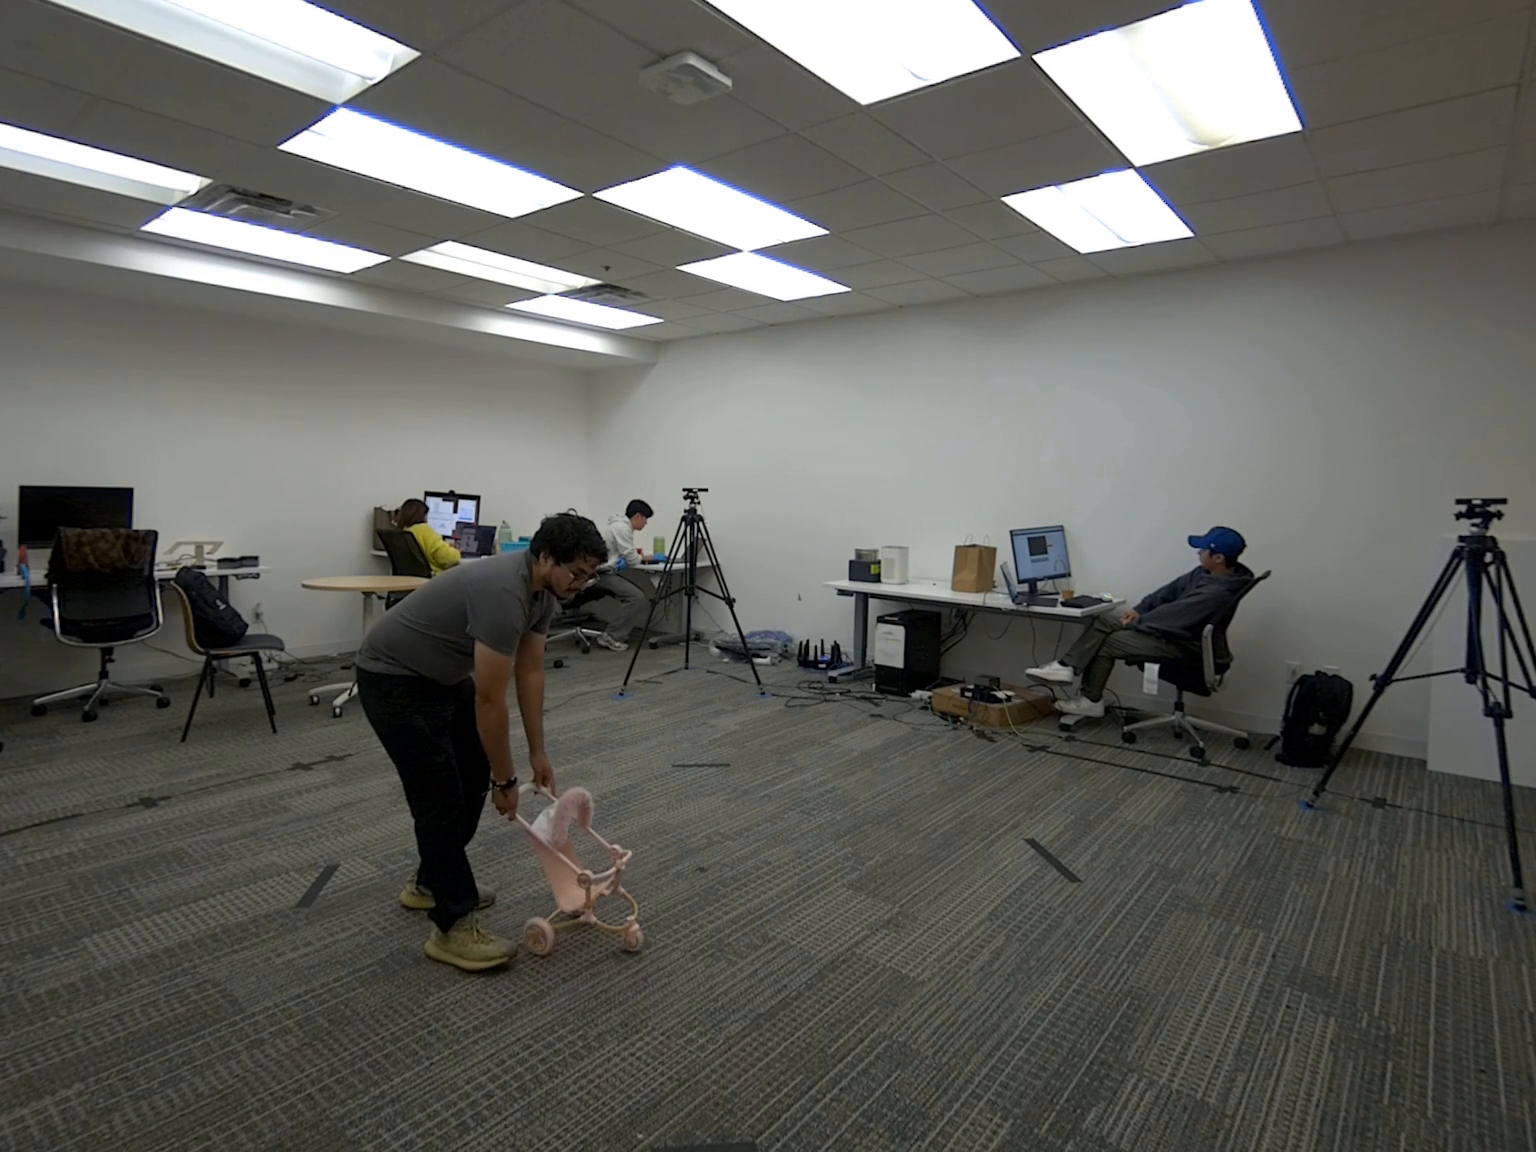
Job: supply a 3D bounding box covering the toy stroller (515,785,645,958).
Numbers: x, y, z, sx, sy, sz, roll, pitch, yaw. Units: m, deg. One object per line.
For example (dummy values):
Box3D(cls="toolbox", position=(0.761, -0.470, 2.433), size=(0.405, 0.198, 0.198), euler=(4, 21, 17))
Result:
Box3D(cls="toy stroller", position=(-0.587, 0.895, 2.597), size=(0.347, 0.537, 0.276), euler=(-15, -2, 23))
